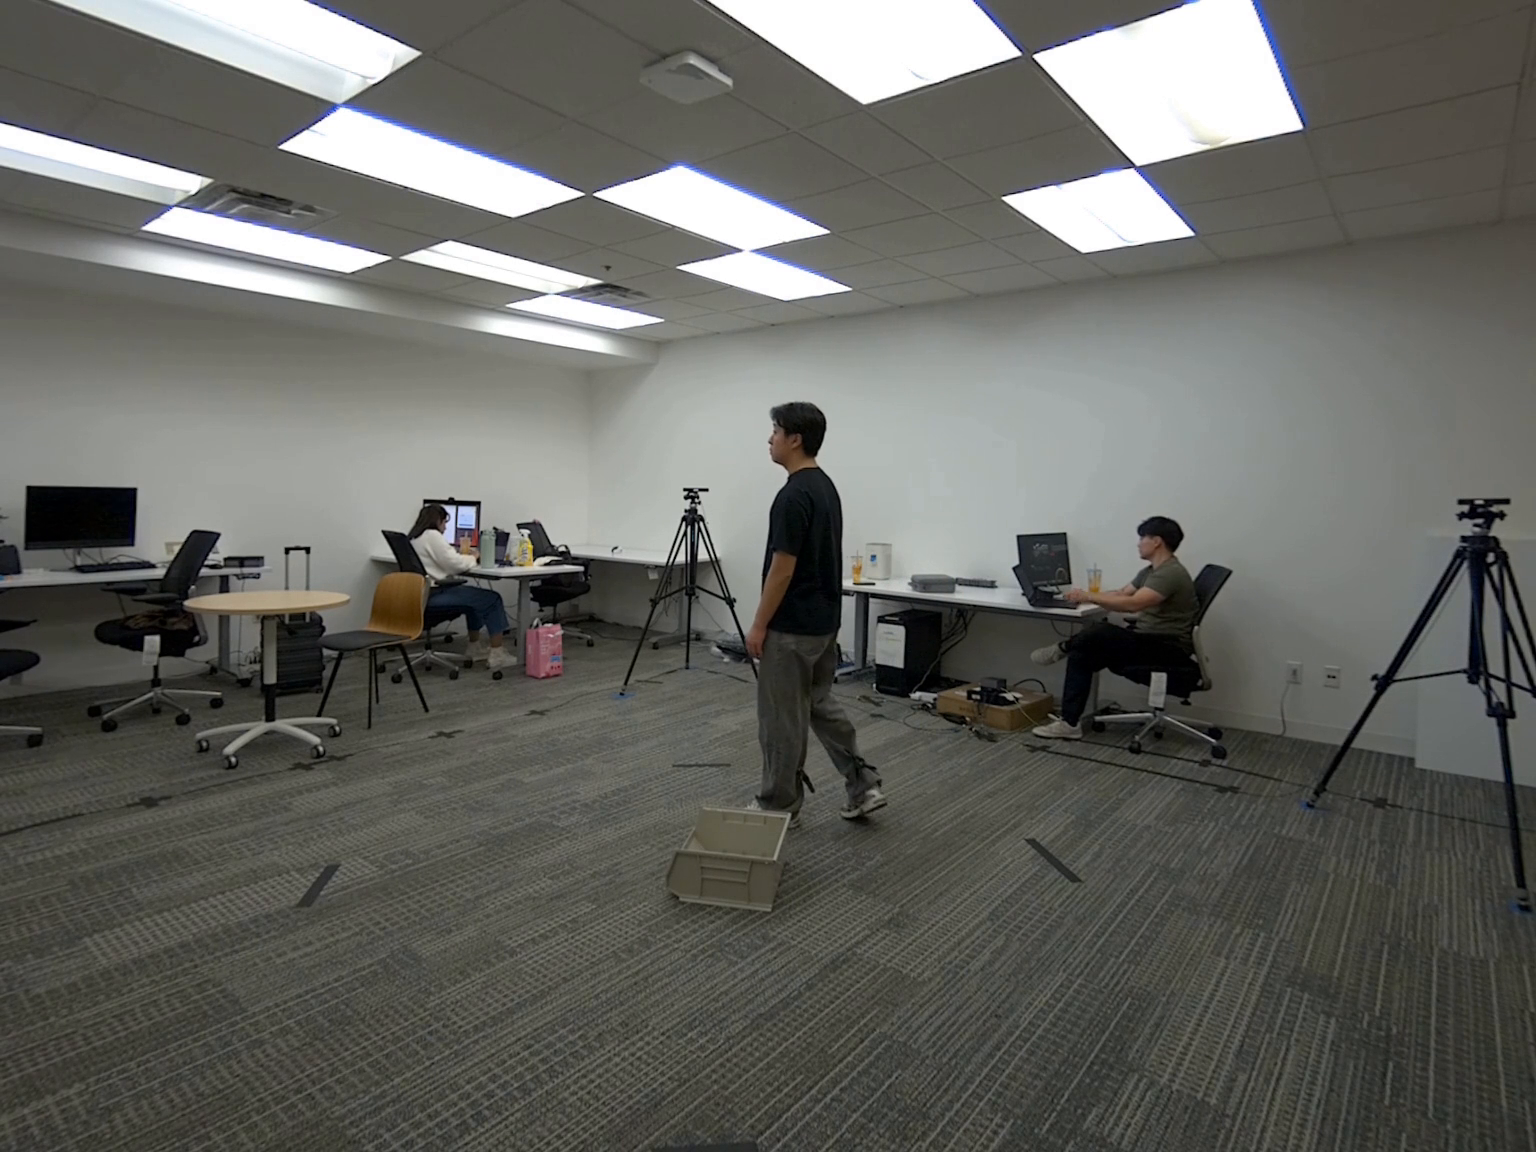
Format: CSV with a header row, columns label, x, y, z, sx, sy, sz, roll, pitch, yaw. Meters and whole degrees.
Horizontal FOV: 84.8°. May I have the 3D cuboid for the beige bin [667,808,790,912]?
label,x,y,z,sx,sy,sz,roll,pitch,yaw
beige bin,-0.142,0.990,3.026,0.382,0.188,0.419,3,5,9
